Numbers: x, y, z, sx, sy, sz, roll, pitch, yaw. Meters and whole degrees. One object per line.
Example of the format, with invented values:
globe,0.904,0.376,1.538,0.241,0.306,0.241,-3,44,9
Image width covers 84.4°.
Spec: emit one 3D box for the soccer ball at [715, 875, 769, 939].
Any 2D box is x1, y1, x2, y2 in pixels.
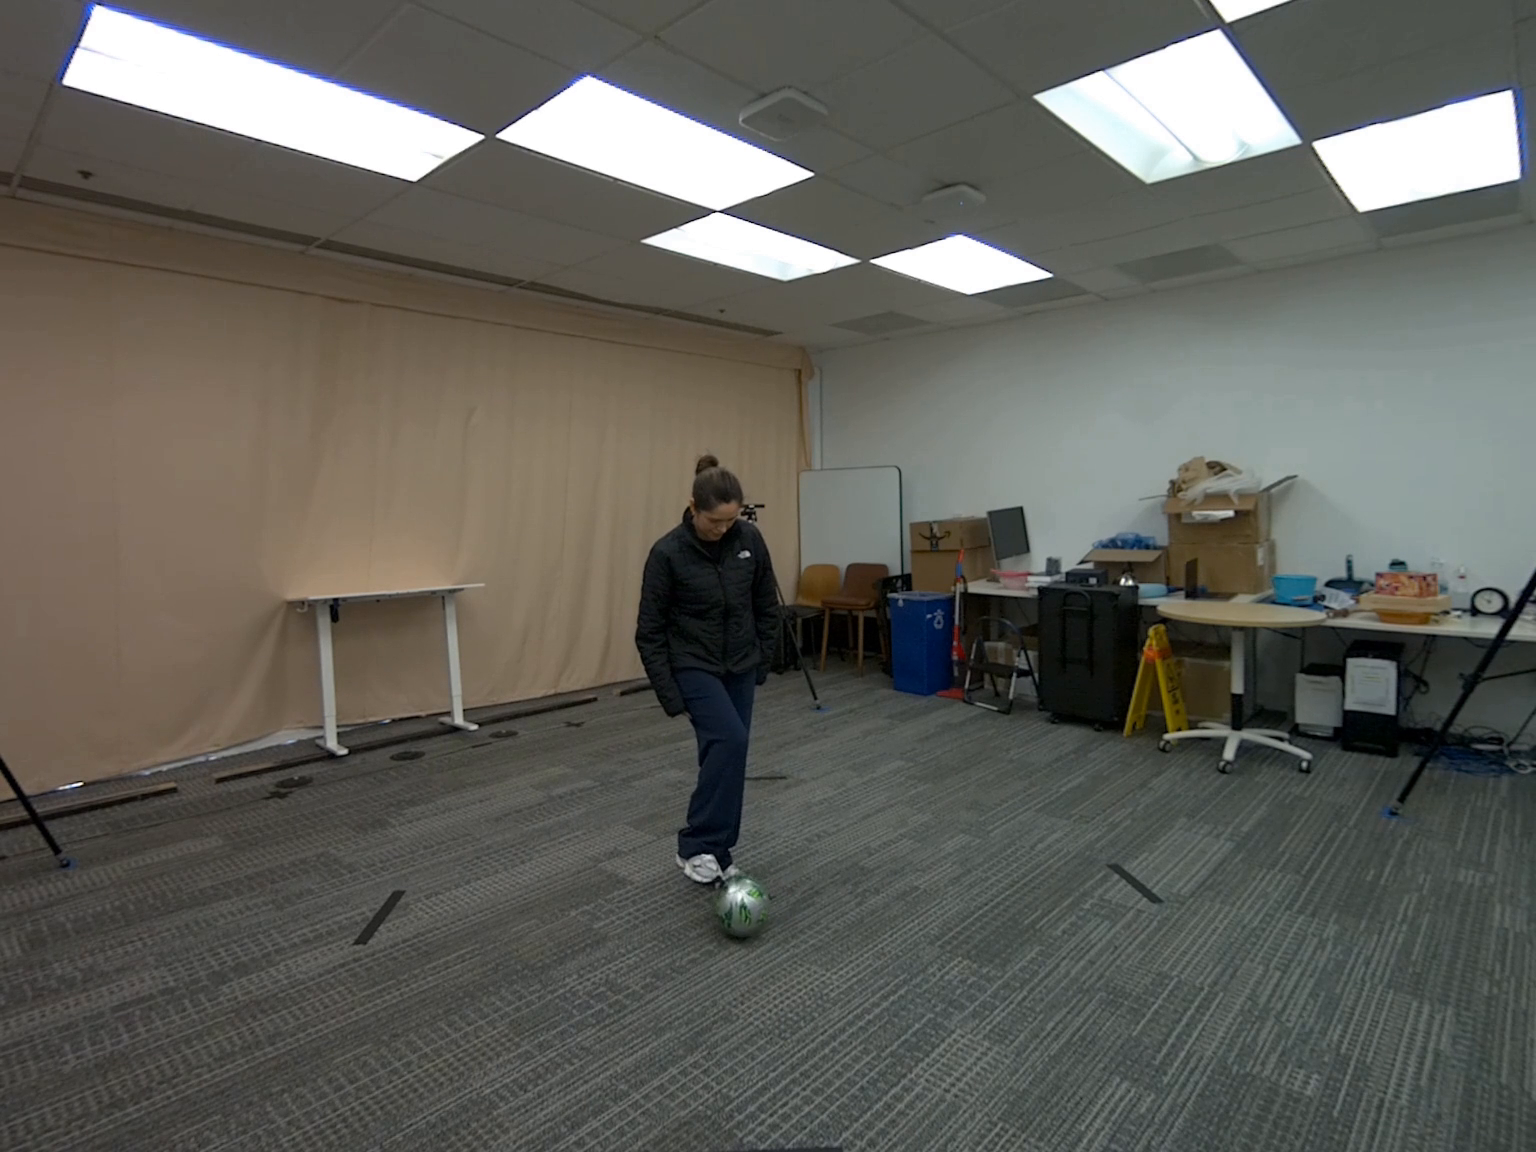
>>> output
soccer ball,-0.076,1.070,2.721,0.187,0.187,0.188,-1,4,-2
